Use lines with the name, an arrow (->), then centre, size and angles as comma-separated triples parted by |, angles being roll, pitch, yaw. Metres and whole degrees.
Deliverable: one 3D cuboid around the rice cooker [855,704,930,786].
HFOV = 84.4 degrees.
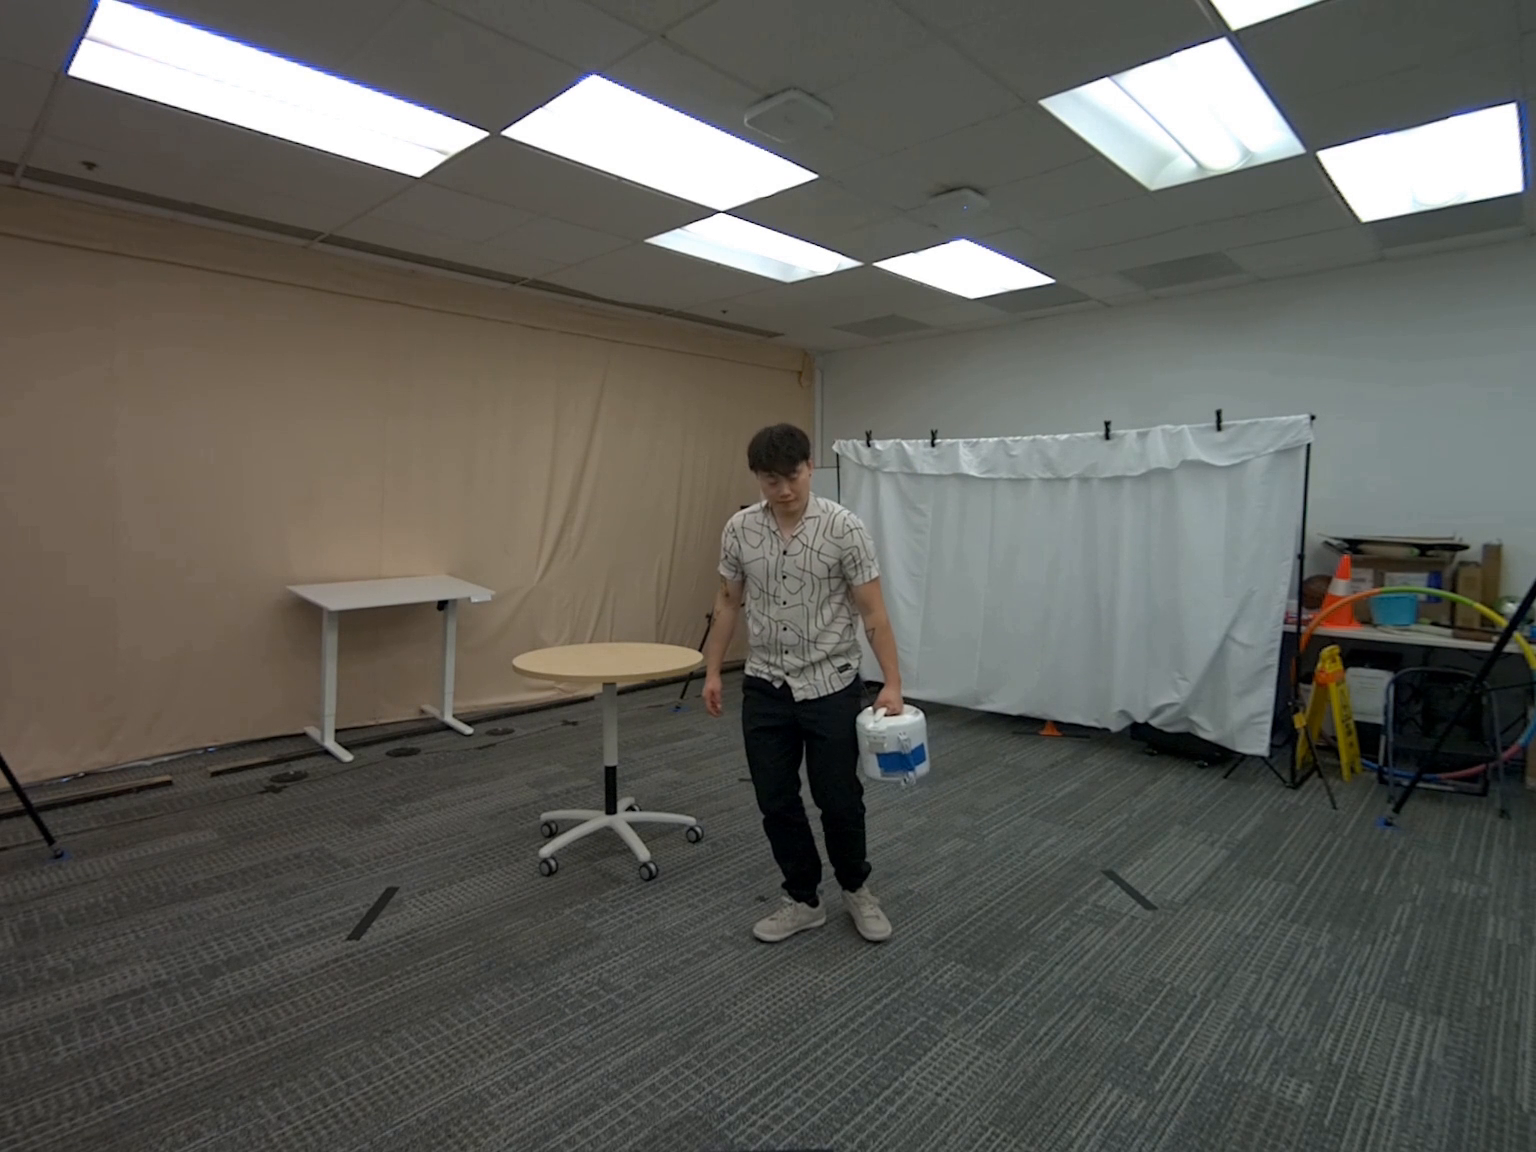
rice cooker -> 0.385, 0.507, 2.590 | 0.224, 0.232, 0.215 | -2, 5, 35
